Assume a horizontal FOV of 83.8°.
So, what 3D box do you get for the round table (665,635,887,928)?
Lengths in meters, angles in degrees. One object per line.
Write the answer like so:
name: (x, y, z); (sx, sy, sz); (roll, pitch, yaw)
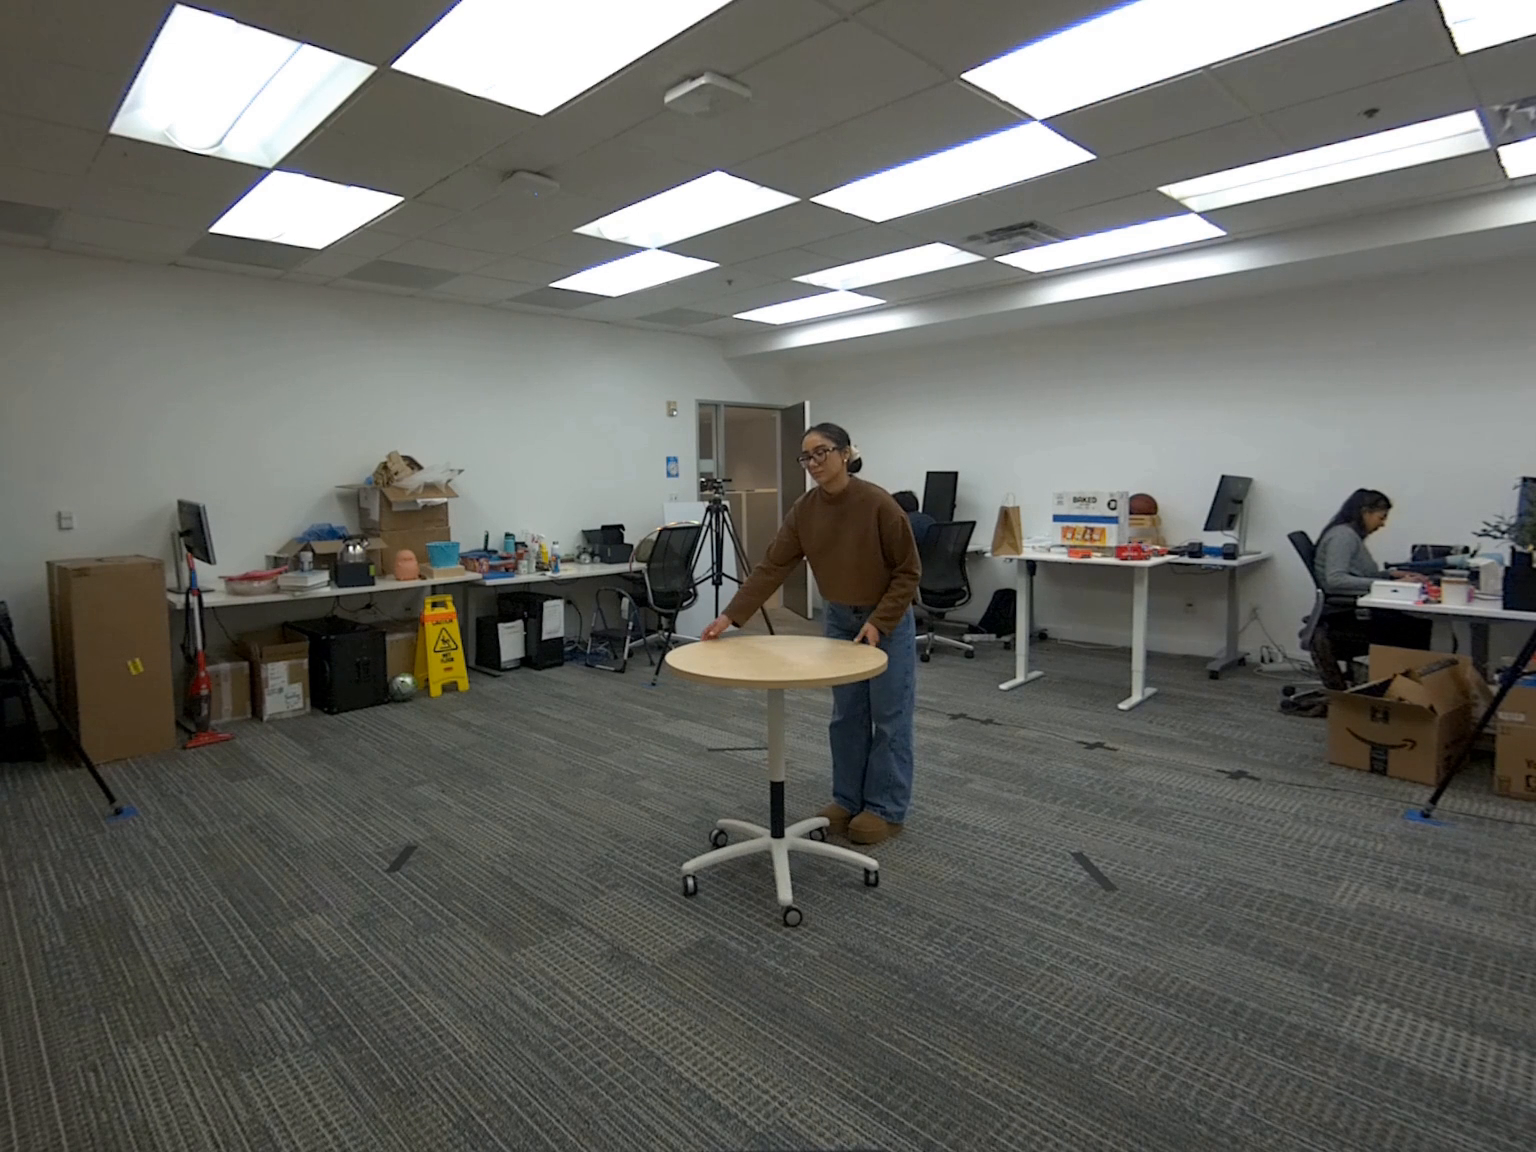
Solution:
round table: (0.032, 0.669, 2.981); (0.763, 0.791, 0.768); (-1, 5, -2)
